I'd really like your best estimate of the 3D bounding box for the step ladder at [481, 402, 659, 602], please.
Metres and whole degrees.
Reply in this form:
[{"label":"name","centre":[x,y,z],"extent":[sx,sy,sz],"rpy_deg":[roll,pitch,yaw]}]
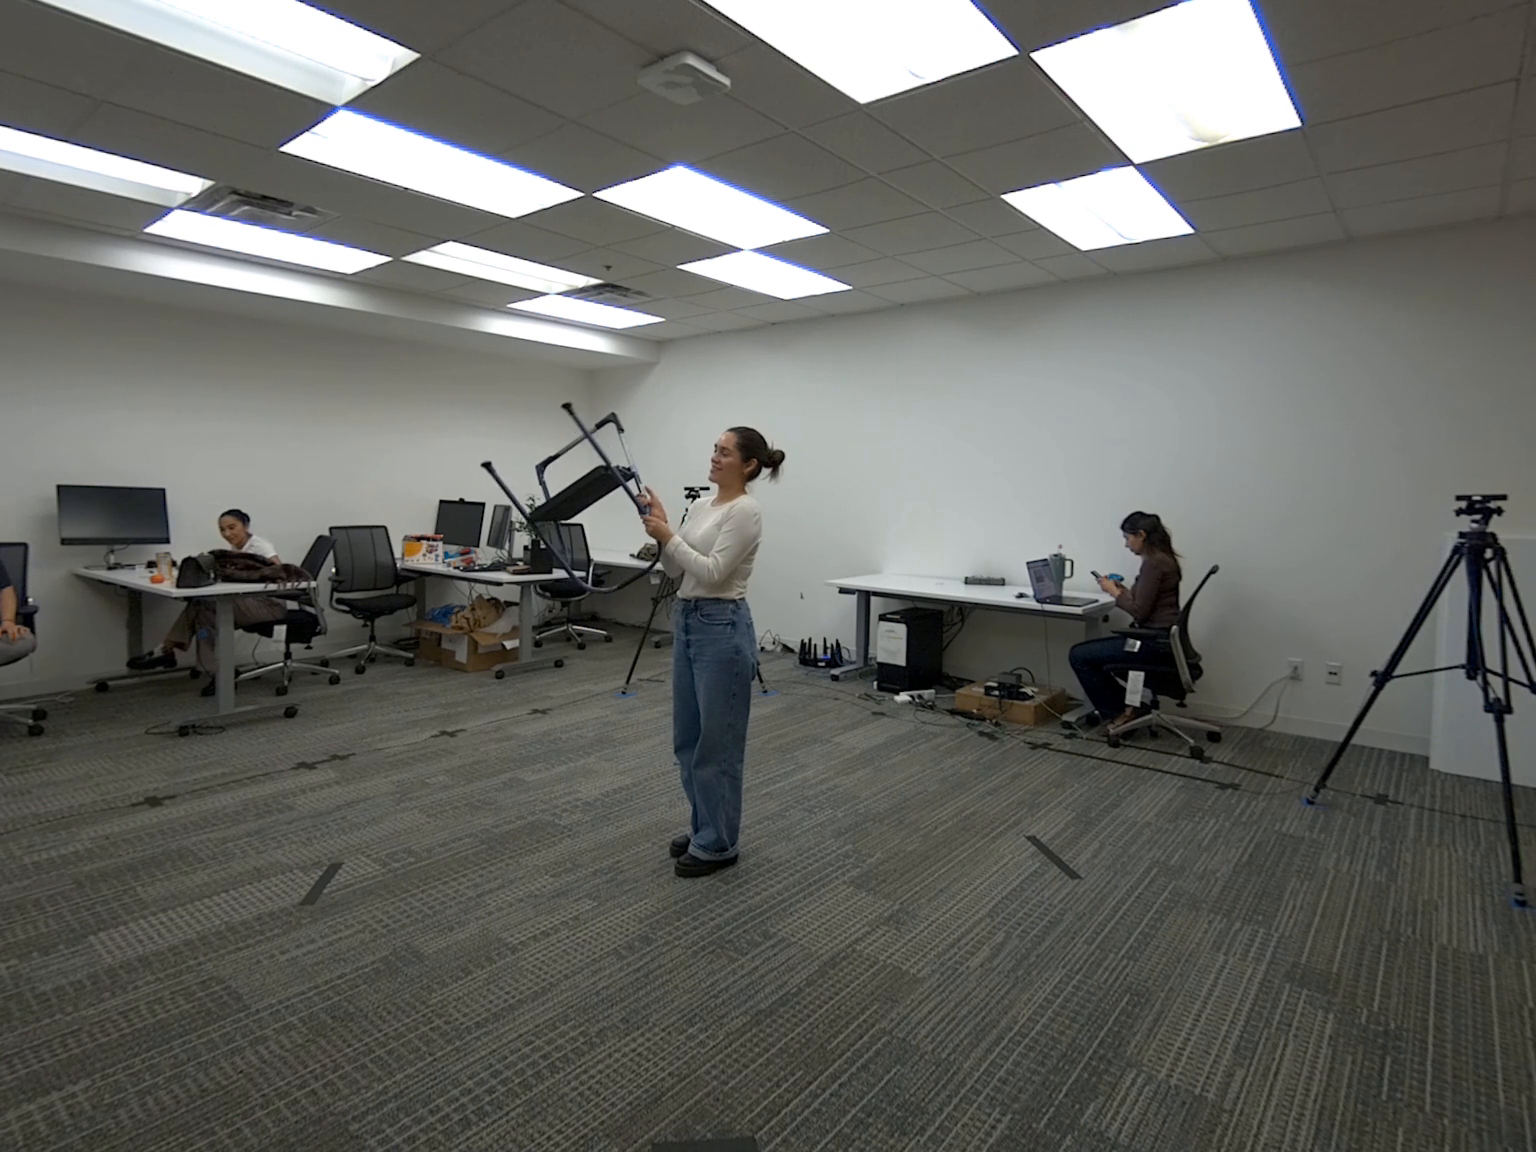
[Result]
[{"label":"step ladder","centre":[-0.666,-0.250,3.068],"extent":[0.434,0.613,0.342],"rpy_deg":[-31,-8,21]}]
